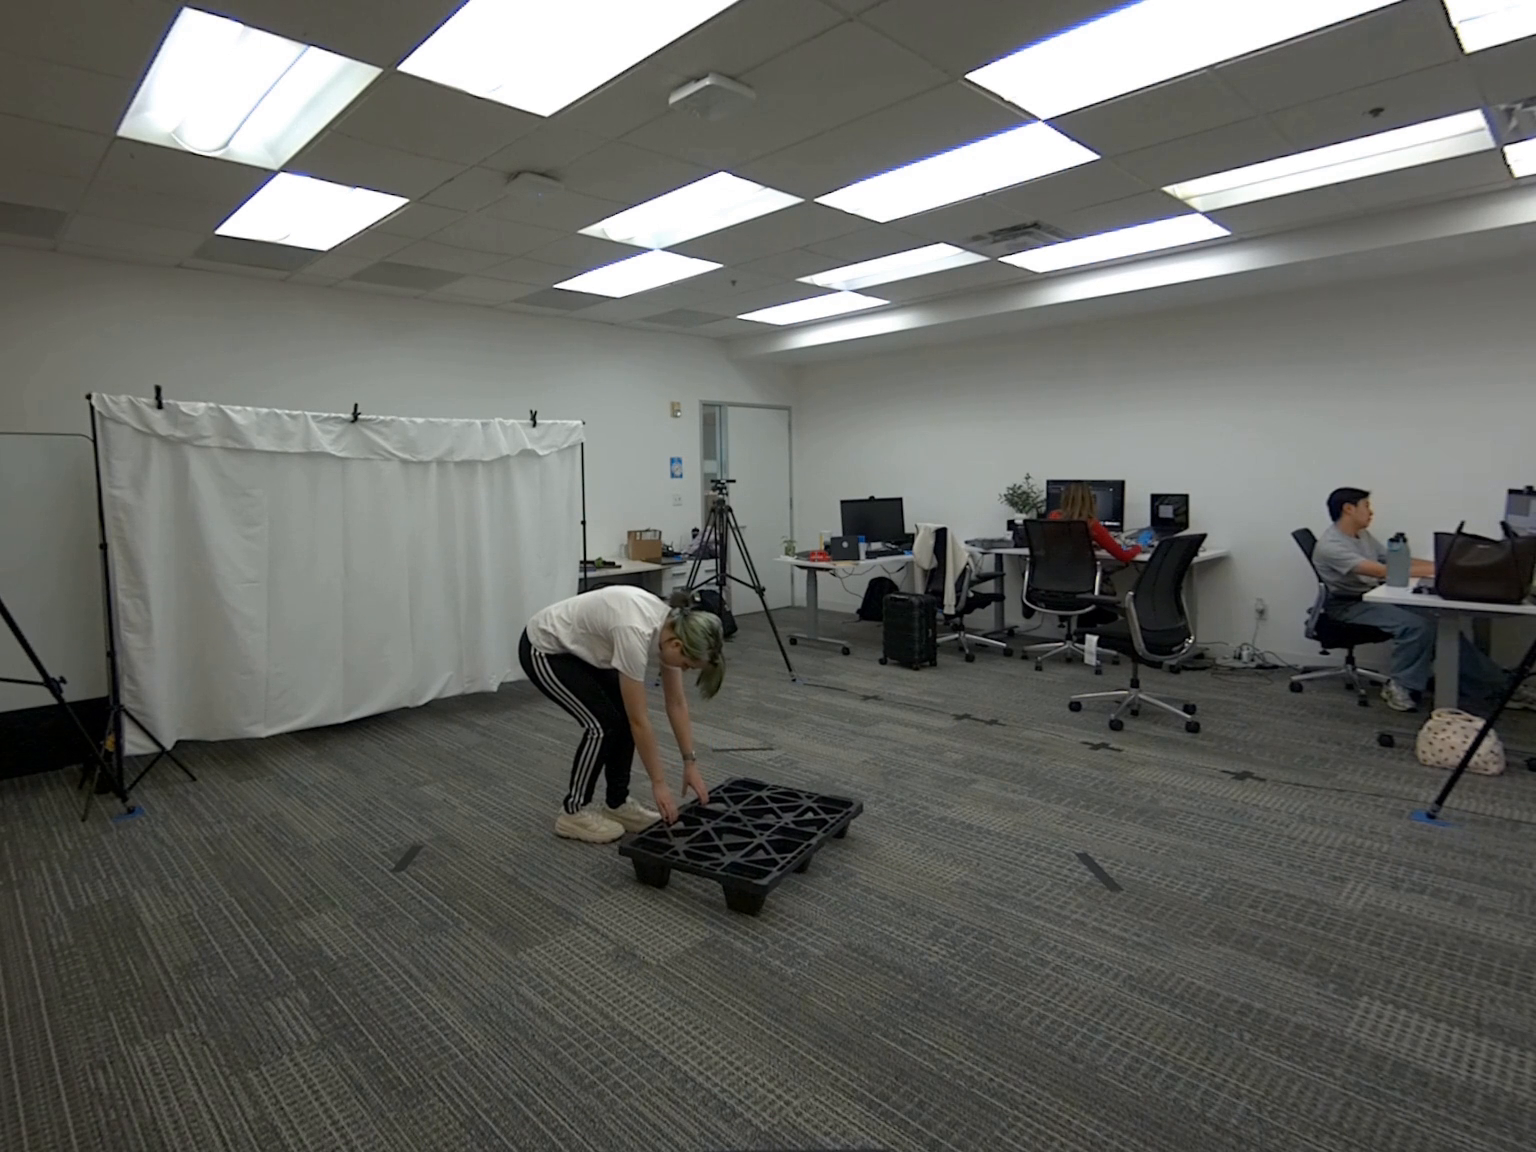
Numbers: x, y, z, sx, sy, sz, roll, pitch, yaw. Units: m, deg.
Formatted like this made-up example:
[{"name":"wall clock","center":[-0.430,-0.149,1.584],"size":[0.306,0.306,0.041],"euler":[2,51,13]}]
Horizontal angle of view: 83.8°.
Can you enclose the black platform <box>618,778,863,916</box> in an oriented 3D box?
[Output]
[{"name":"black platform","center":[-0.079,0.974,3.157],"size":[0.621,0.143,0.788],"euler":[2,7,30]}]
